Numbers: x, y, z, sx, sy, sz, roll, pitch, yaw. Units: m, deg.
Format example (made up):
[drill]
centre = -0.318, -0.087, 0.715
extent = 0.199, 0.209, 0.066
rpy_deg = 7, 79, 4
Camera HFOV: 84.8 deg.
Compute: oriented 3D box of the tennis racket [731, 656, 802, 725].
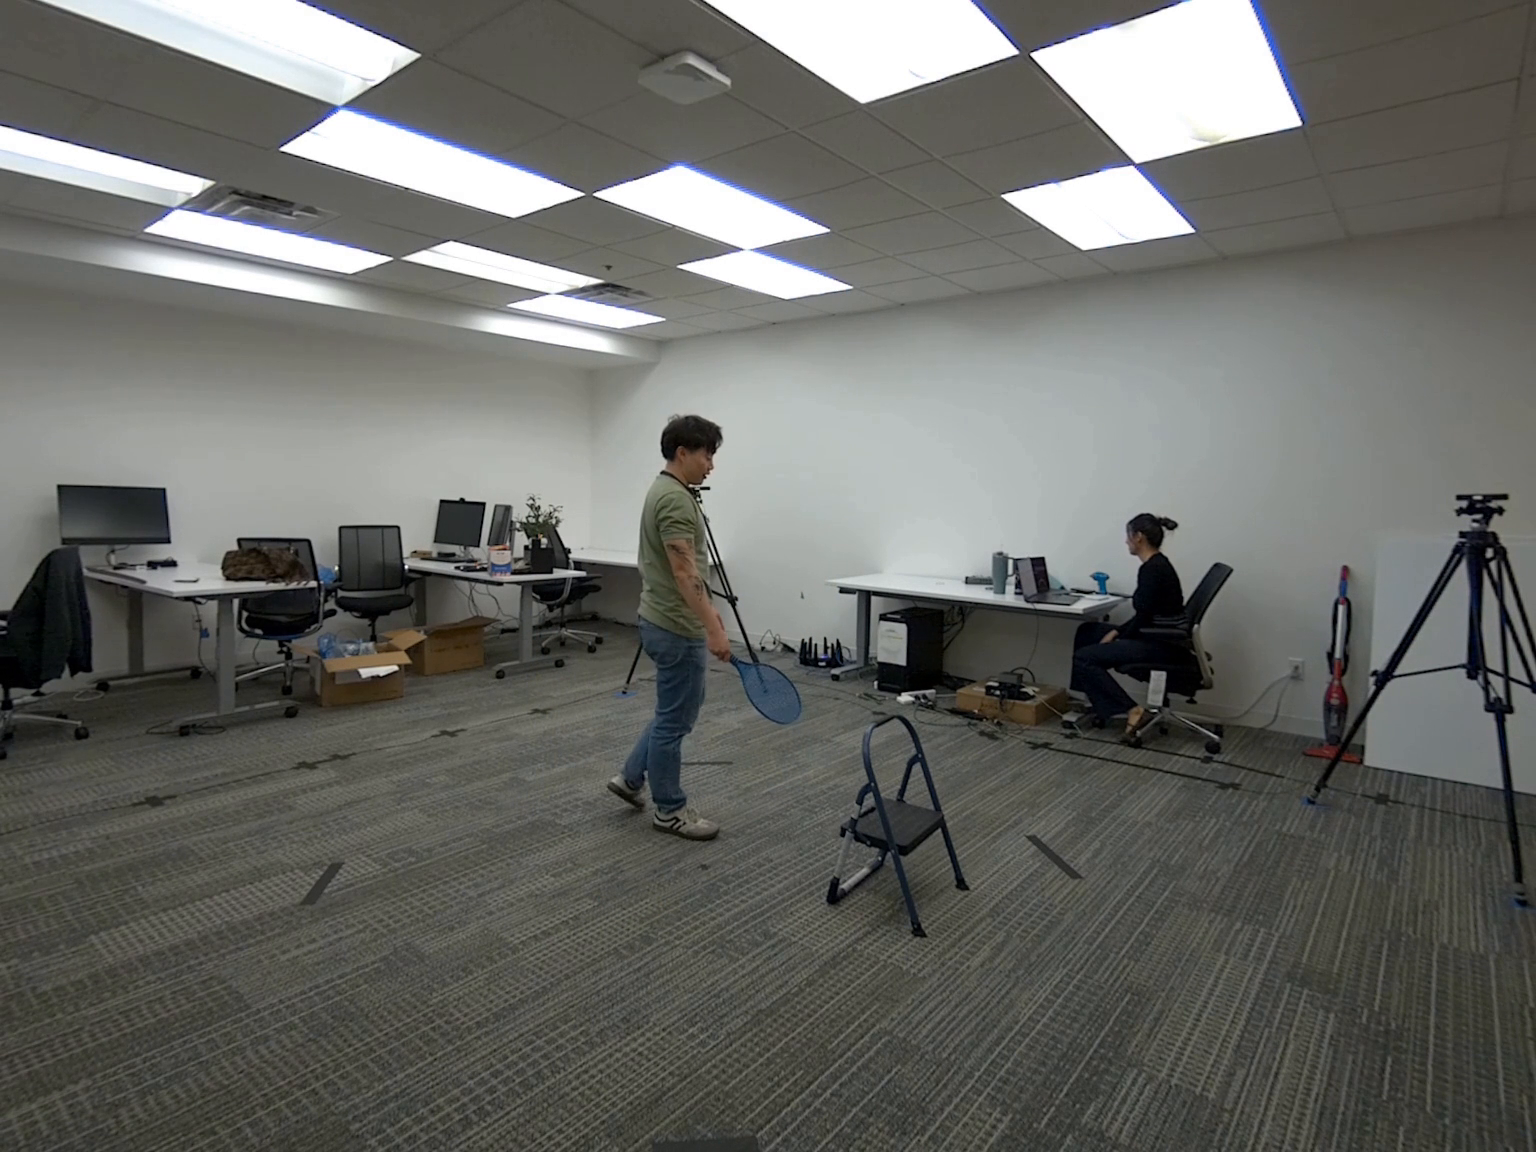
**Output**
[tennis racket]
centre = -0.074, 0.386, 3.182
extent = 0.032, 0.430, 0.215
rpy_deg = -46, 7, 45
